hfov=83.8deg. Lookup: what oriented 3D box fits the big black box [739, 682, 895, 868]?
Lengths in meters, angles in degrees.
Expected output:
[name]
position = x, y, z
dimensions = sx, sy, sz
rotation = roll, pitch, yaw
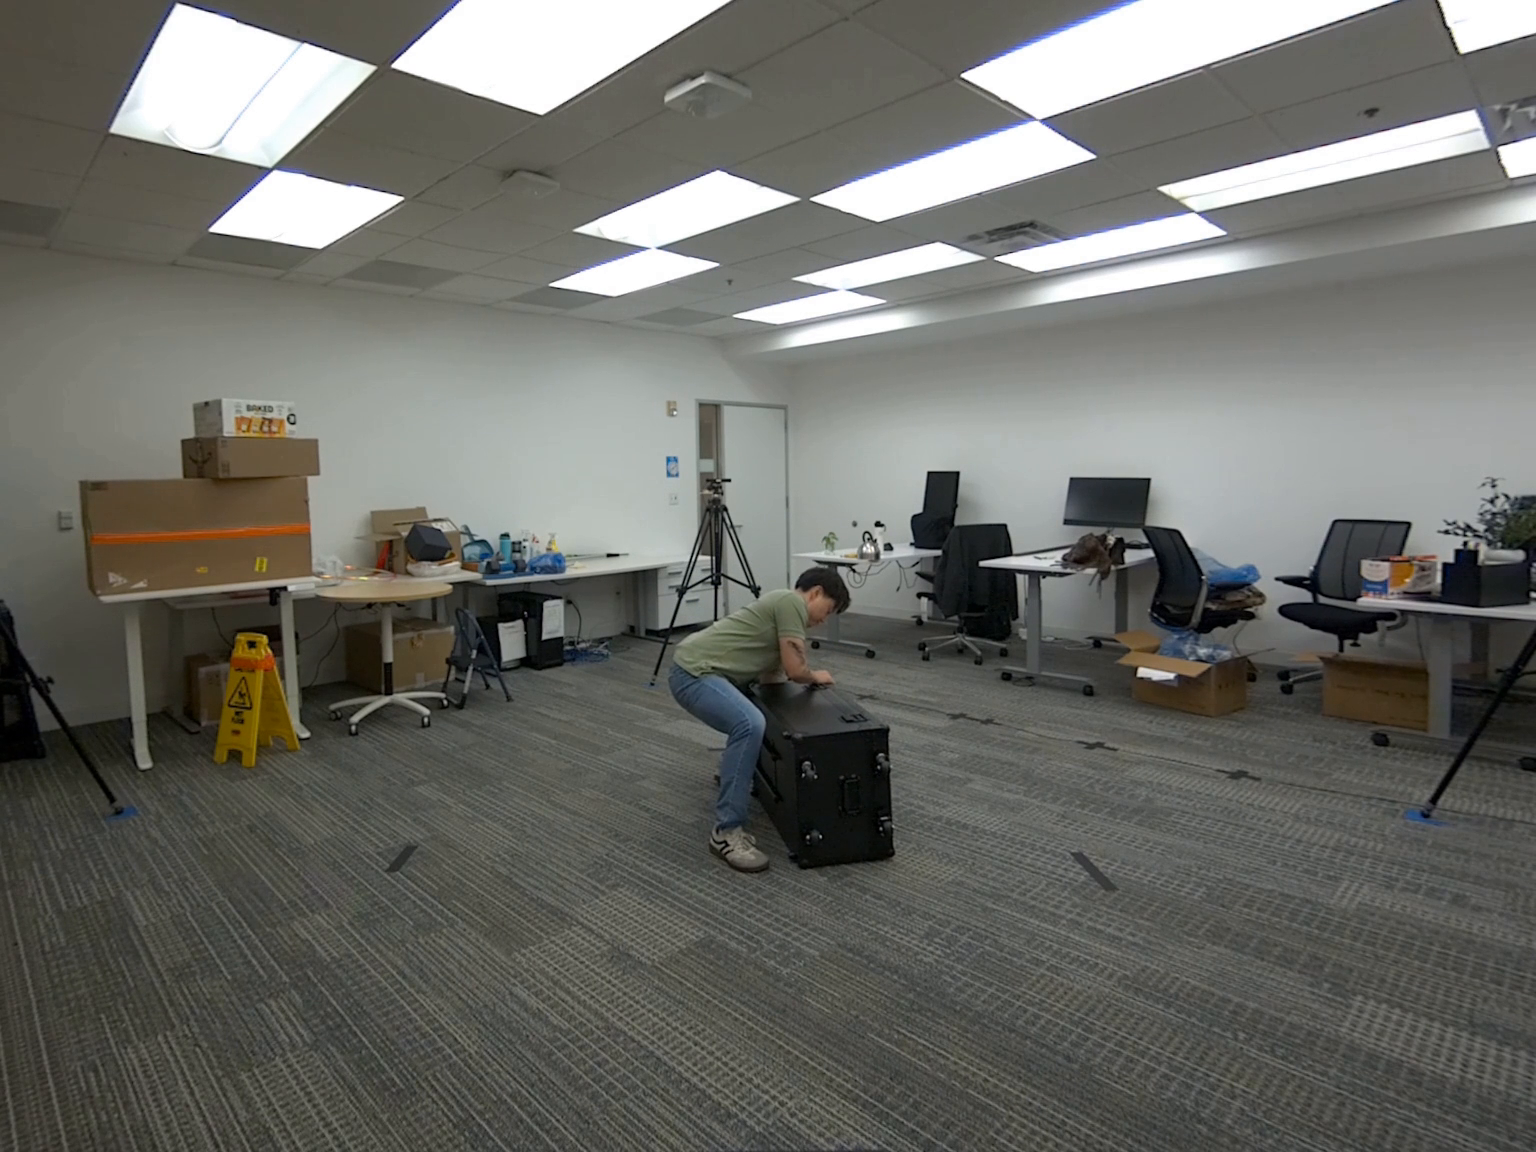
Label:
[big black box]
position = 0.182, 0.746, 3.402
dimensions = 0.392, 0.519, 0.875
rotation = -4, 6, -12
